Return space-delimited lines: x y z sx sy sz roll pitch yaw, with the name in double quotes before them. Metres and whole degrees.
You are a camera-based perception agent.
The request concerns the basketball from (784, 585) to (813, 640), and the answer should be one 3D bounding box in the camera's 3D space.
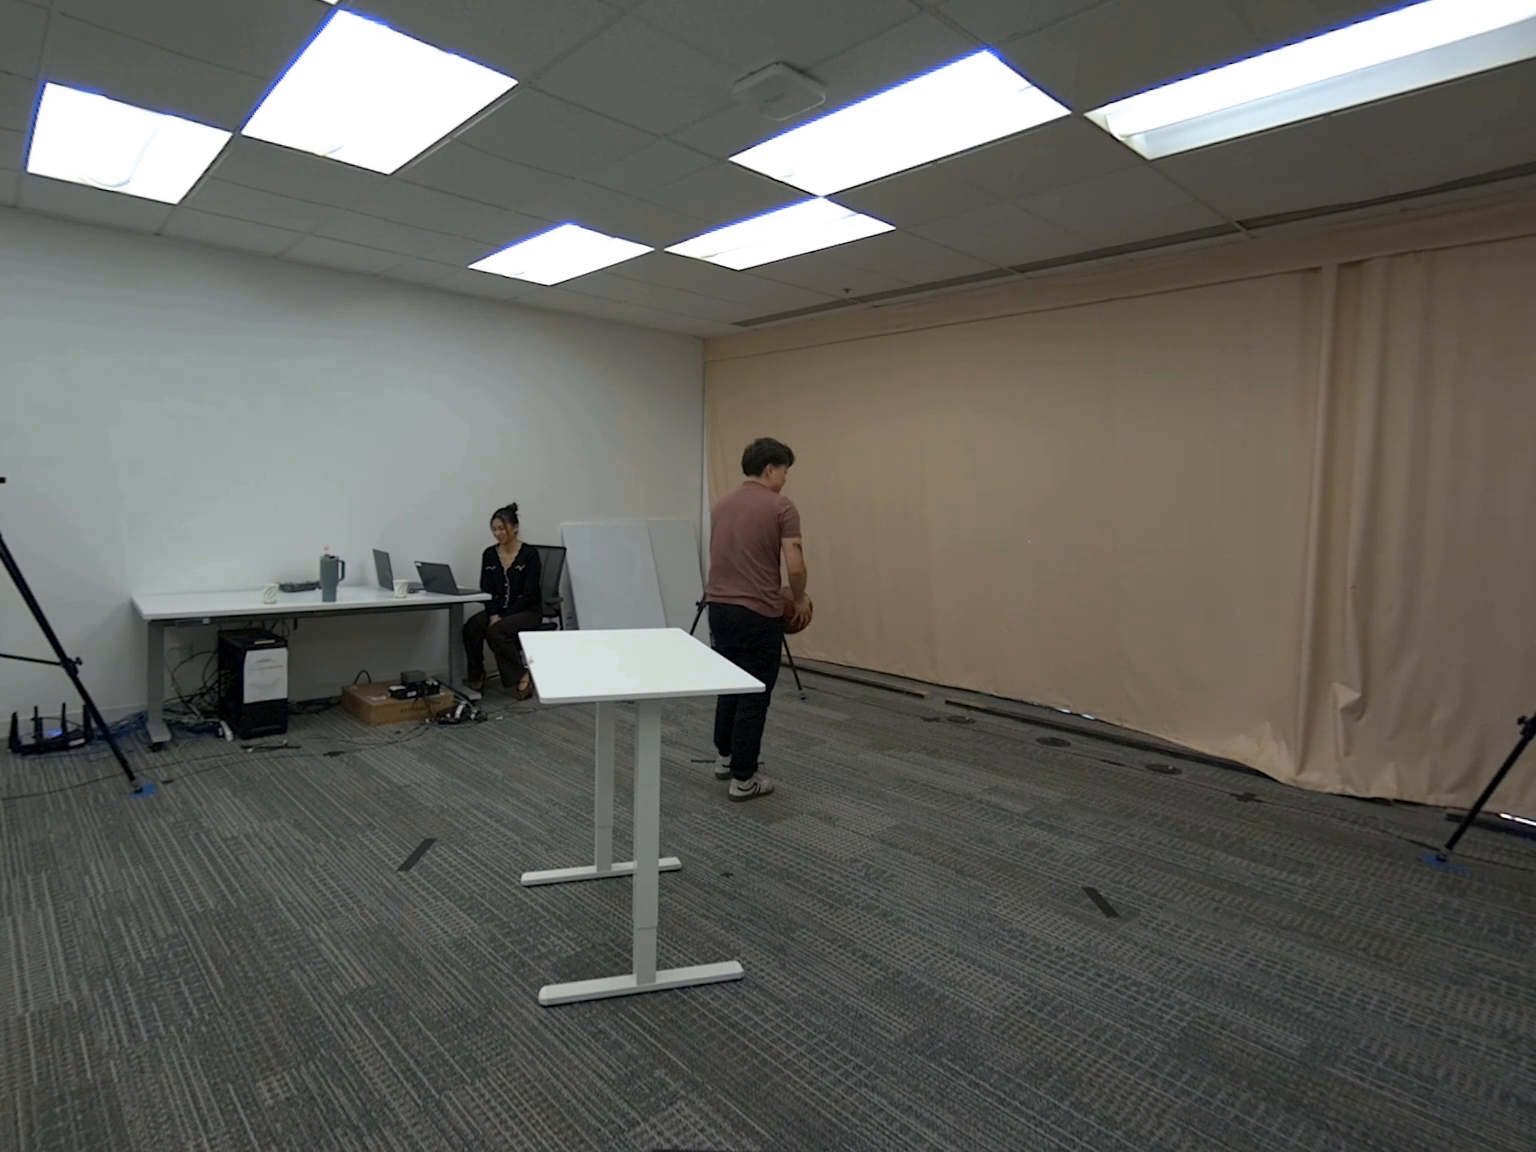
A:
"basketball" 0.083 0.170 4.146 0.236 0.235 0.237 1 4 -1
